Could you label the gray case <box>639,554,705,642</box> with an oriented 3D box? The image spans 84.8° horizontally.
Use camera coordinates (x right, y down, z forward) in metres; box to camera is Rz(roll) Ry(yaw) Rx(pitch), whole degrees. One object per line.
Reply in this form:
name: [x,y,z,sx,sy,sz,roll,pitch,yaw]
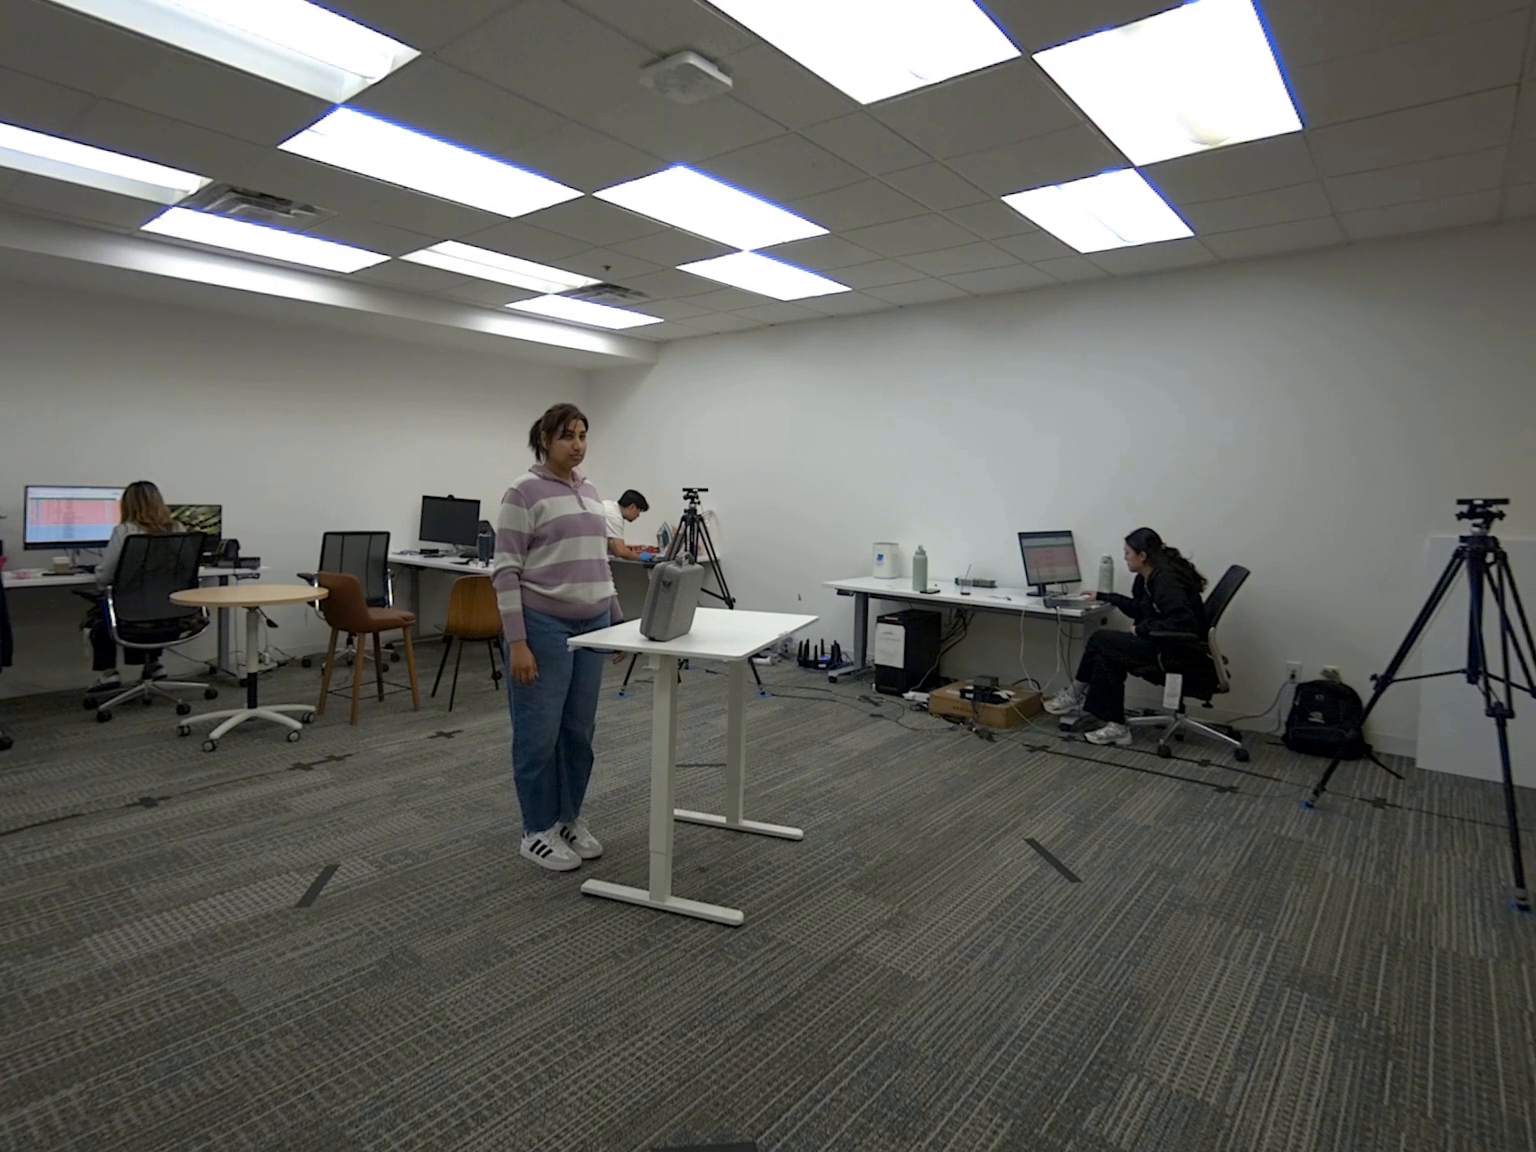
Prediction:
gray case: [-0.330,0.075,2.878,0.106,0.259,0.253,14,8,16]
